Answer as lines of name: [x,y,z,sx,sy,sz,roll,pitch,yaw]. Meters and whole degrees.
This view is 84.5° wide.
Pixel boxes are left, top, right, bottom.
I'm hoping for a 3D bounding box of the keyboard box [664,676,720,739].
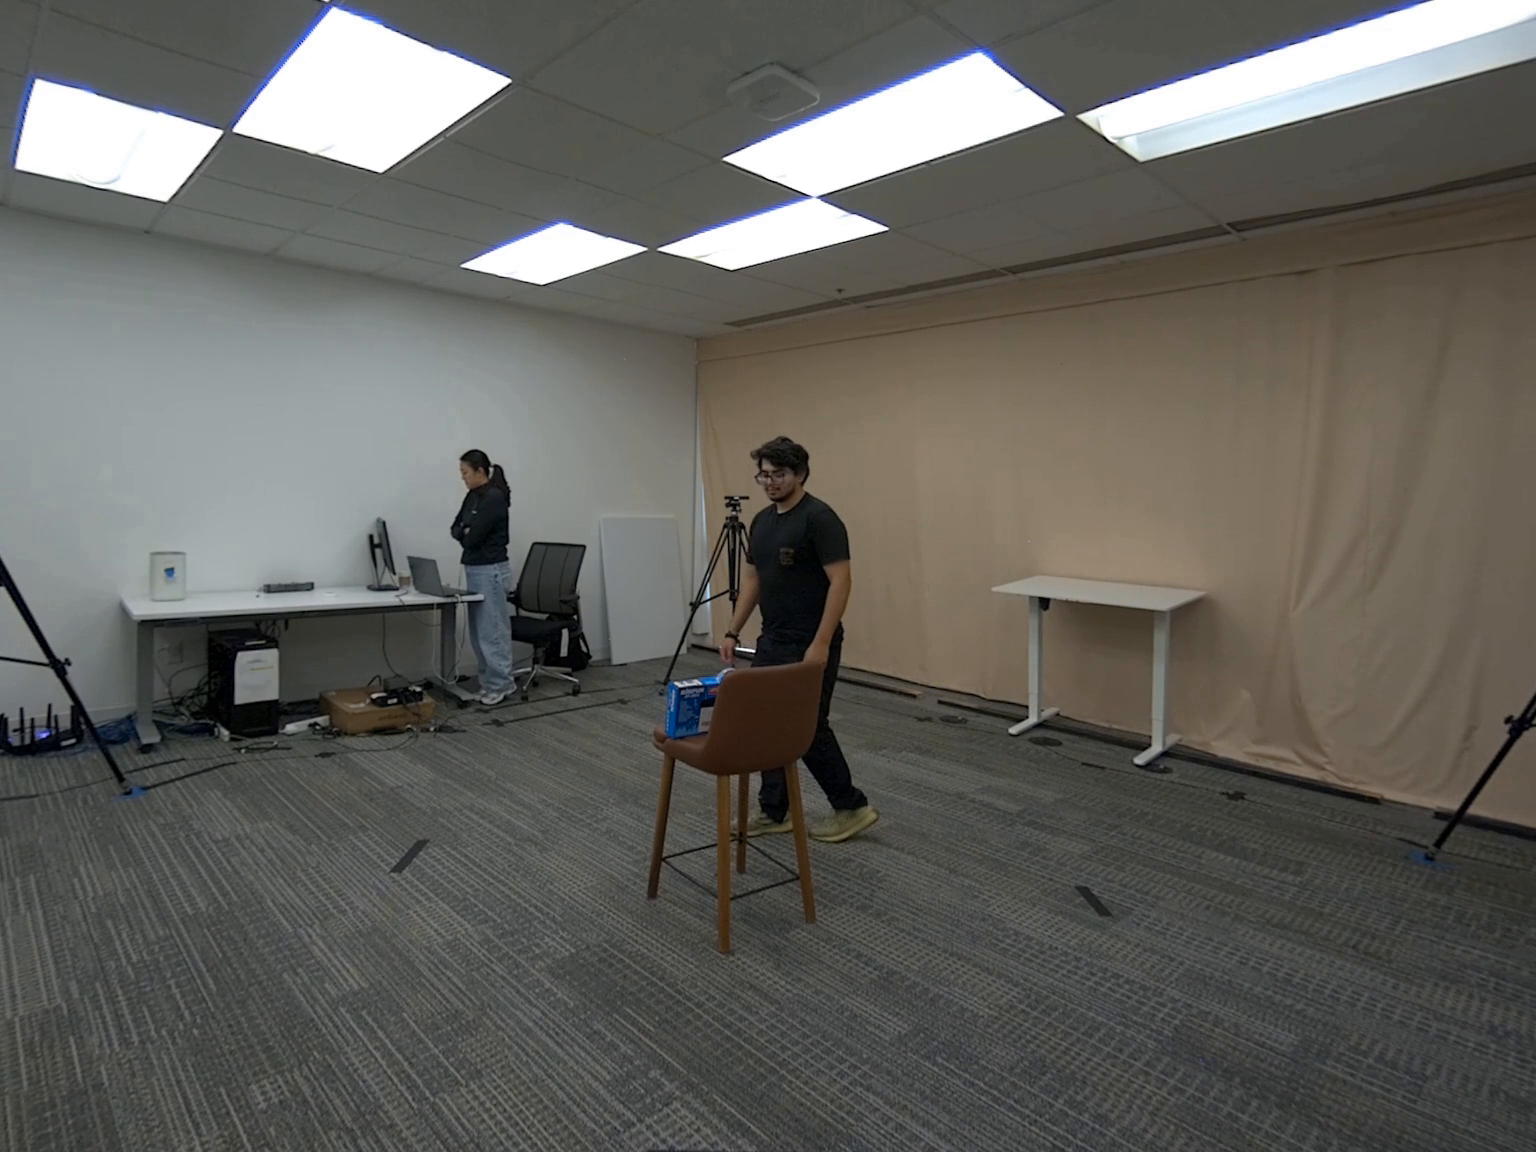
keyboard box: [-0.141,0.429,2.828,0.427,0.175,0.061,-2,12,-35]
